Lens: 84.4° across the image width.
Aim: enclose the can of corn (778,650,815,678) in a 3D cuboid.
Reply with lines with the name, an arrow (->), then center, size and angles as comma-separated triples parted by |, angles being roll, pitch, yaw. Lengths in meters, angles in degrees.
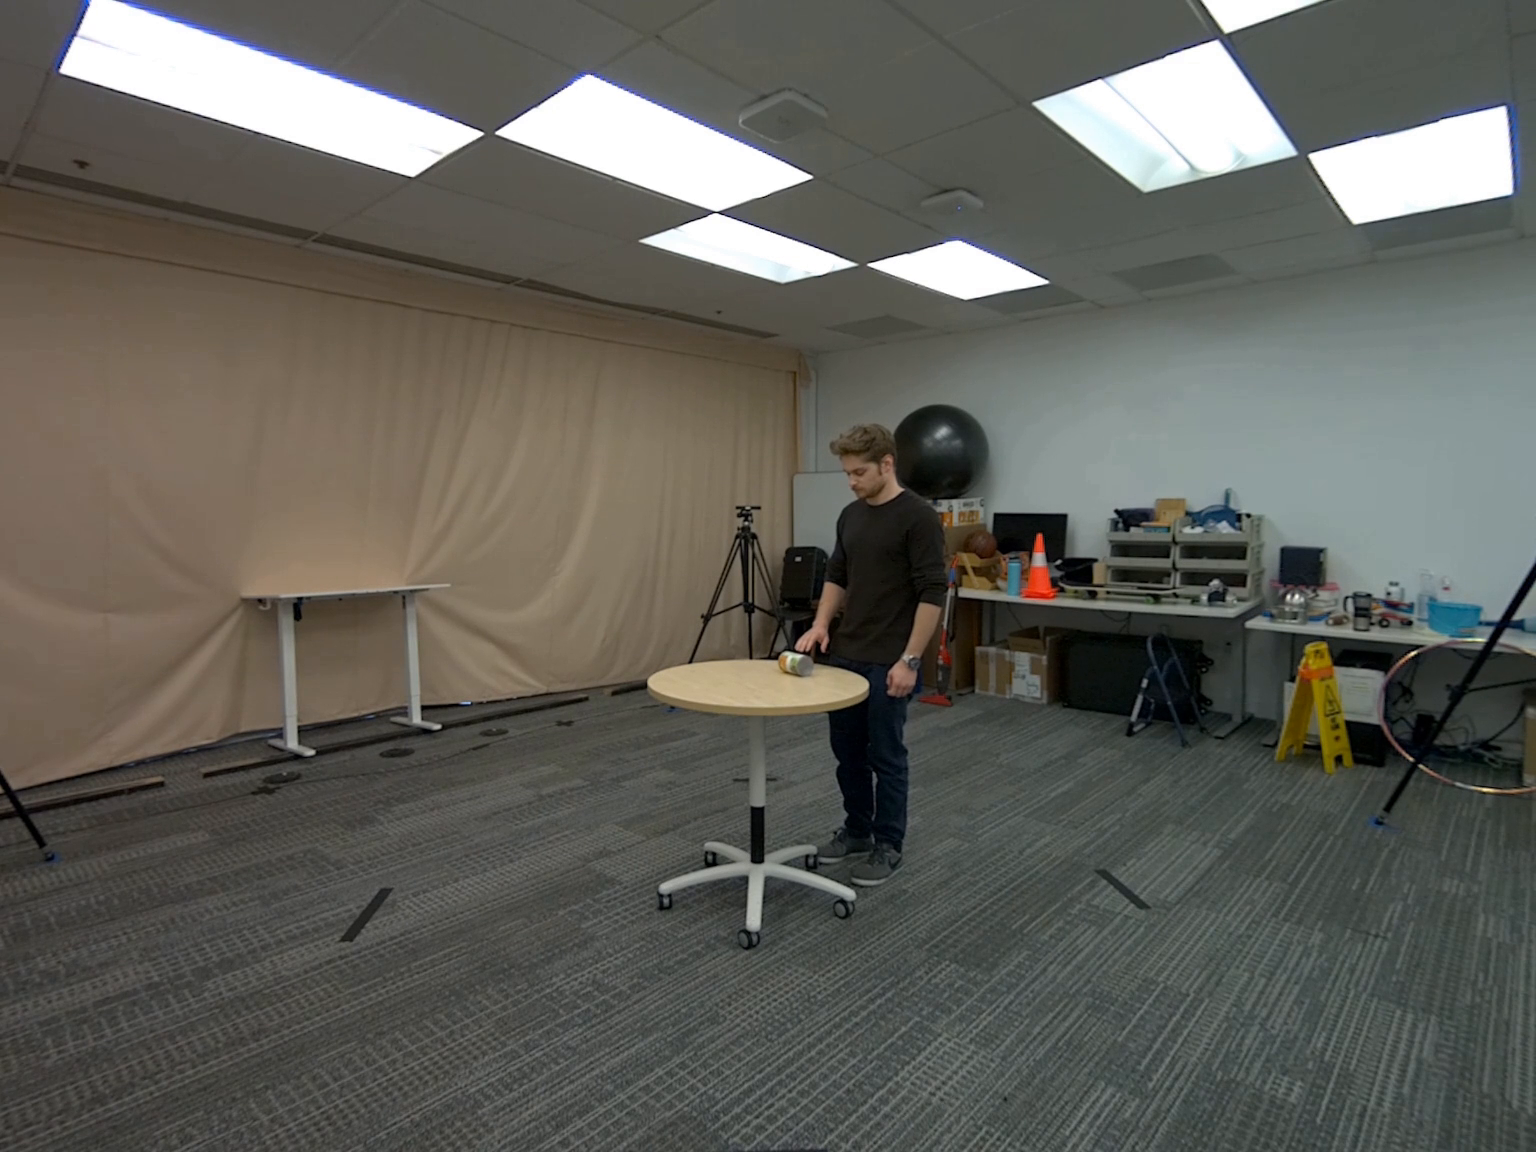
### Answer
can of corn -> 0.093, 0.317, 3.038 | 0.072, 0.074, 0.114 | -3, 7, -34
